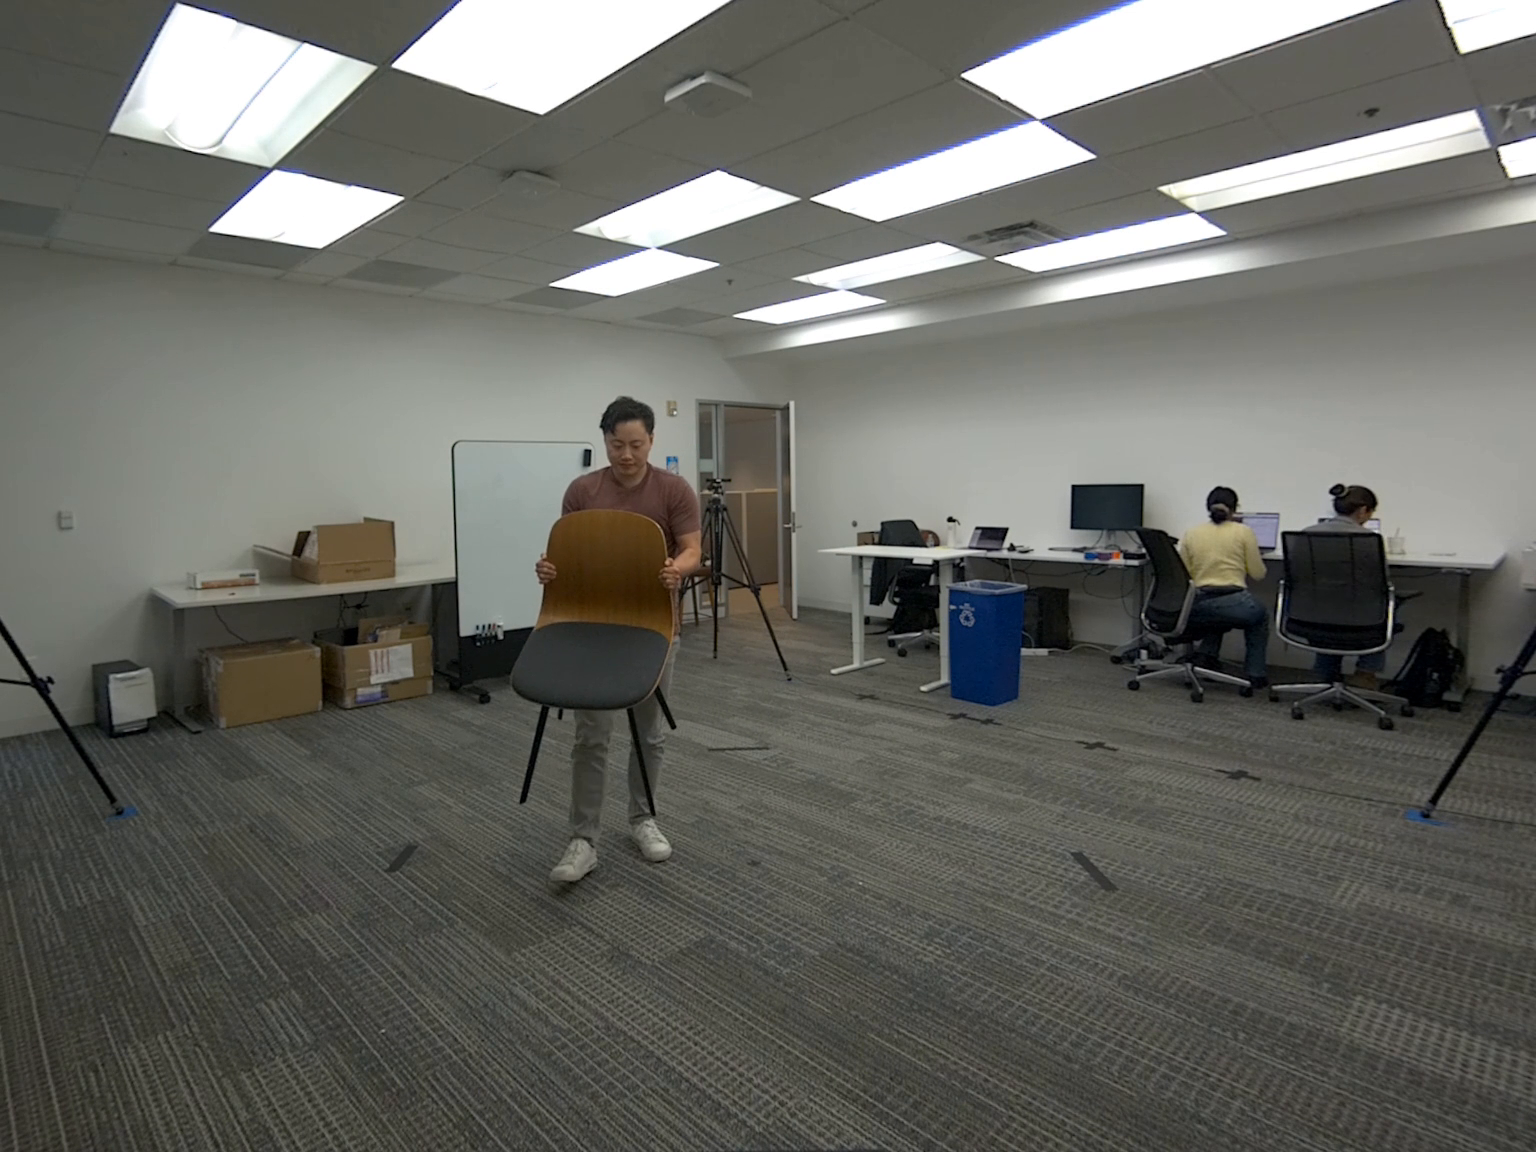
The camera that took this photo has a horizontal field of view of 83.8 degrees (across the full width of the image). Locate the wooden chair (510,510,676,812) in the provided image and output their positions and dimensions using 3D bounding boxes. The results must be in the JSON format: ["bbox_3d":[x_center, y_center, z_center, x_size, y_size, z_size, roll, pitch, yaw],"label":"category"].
[{"bbox_3d":[-0.561,0.292,2.780,0.480,0.862,0.530,5,22,3],"label":"wooden chair"}]
